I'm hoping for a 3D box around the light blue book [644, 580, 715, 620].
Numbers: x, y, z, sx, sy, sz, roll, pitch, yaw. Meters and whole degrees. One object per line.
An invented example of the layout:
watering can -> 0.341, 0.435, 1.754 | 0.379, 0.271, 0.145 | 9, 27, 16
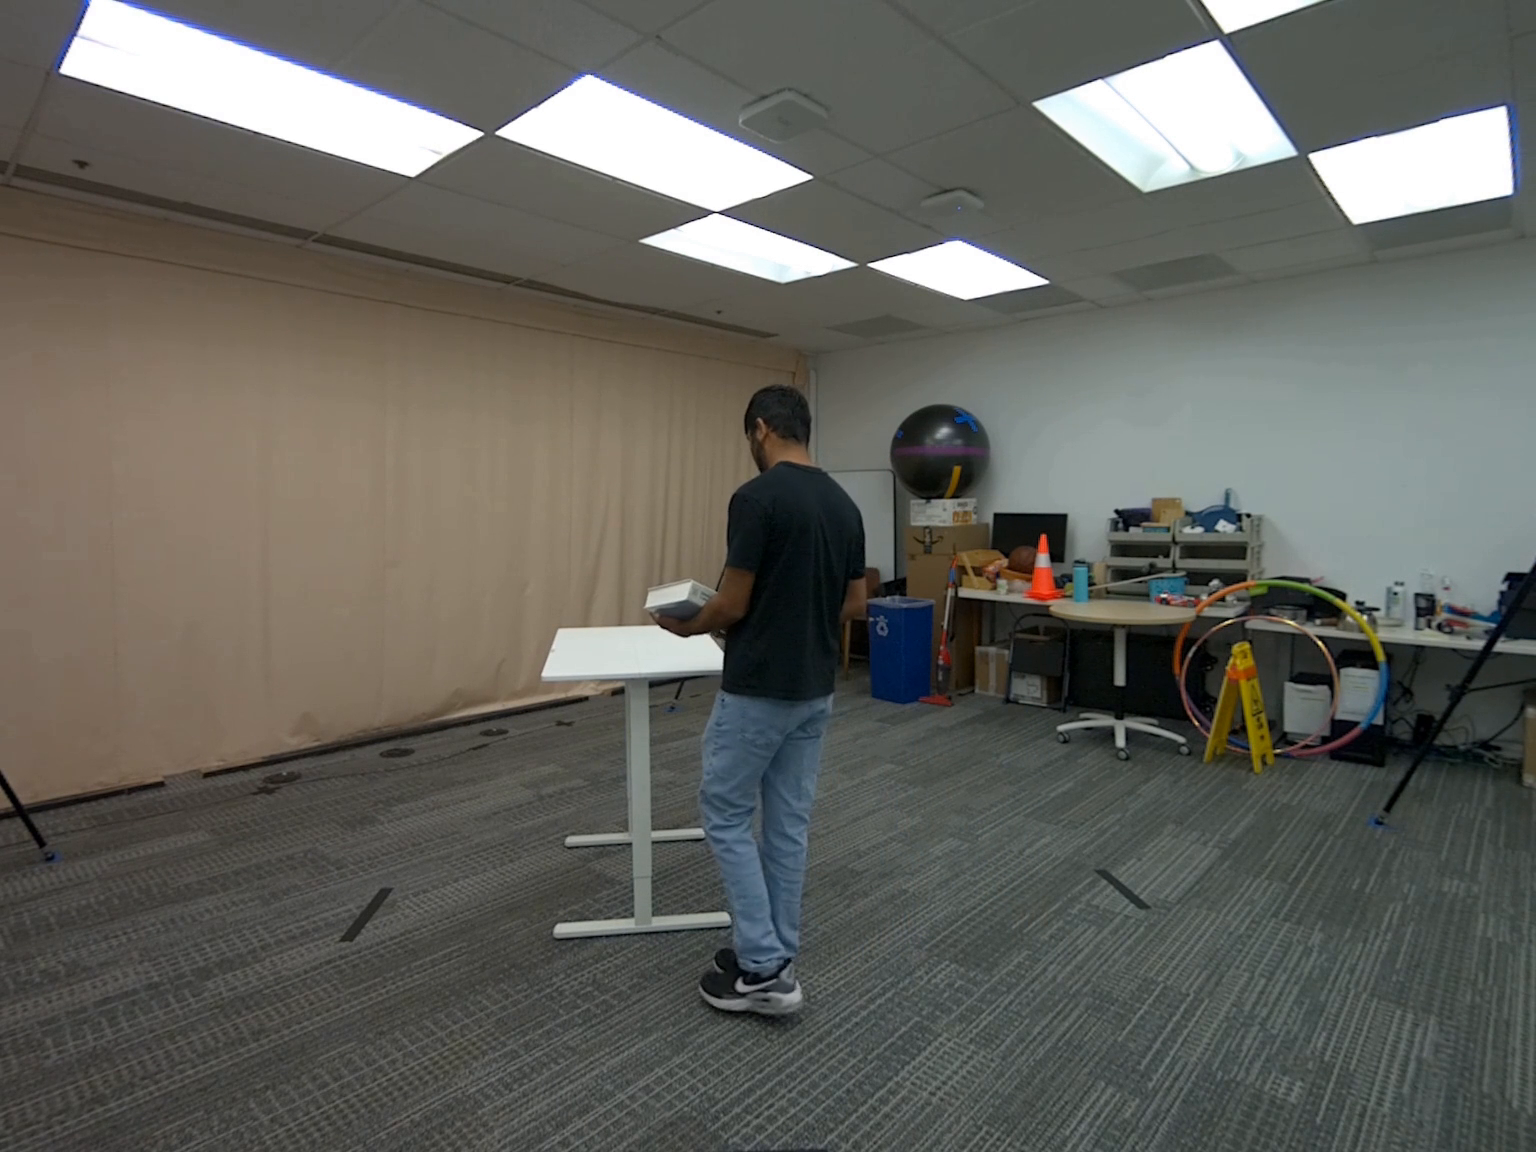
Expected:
light blue book -> -0.201, 0.098, 2.419 | 0.196, 0.059, 0.252 | -15, -30, 42
